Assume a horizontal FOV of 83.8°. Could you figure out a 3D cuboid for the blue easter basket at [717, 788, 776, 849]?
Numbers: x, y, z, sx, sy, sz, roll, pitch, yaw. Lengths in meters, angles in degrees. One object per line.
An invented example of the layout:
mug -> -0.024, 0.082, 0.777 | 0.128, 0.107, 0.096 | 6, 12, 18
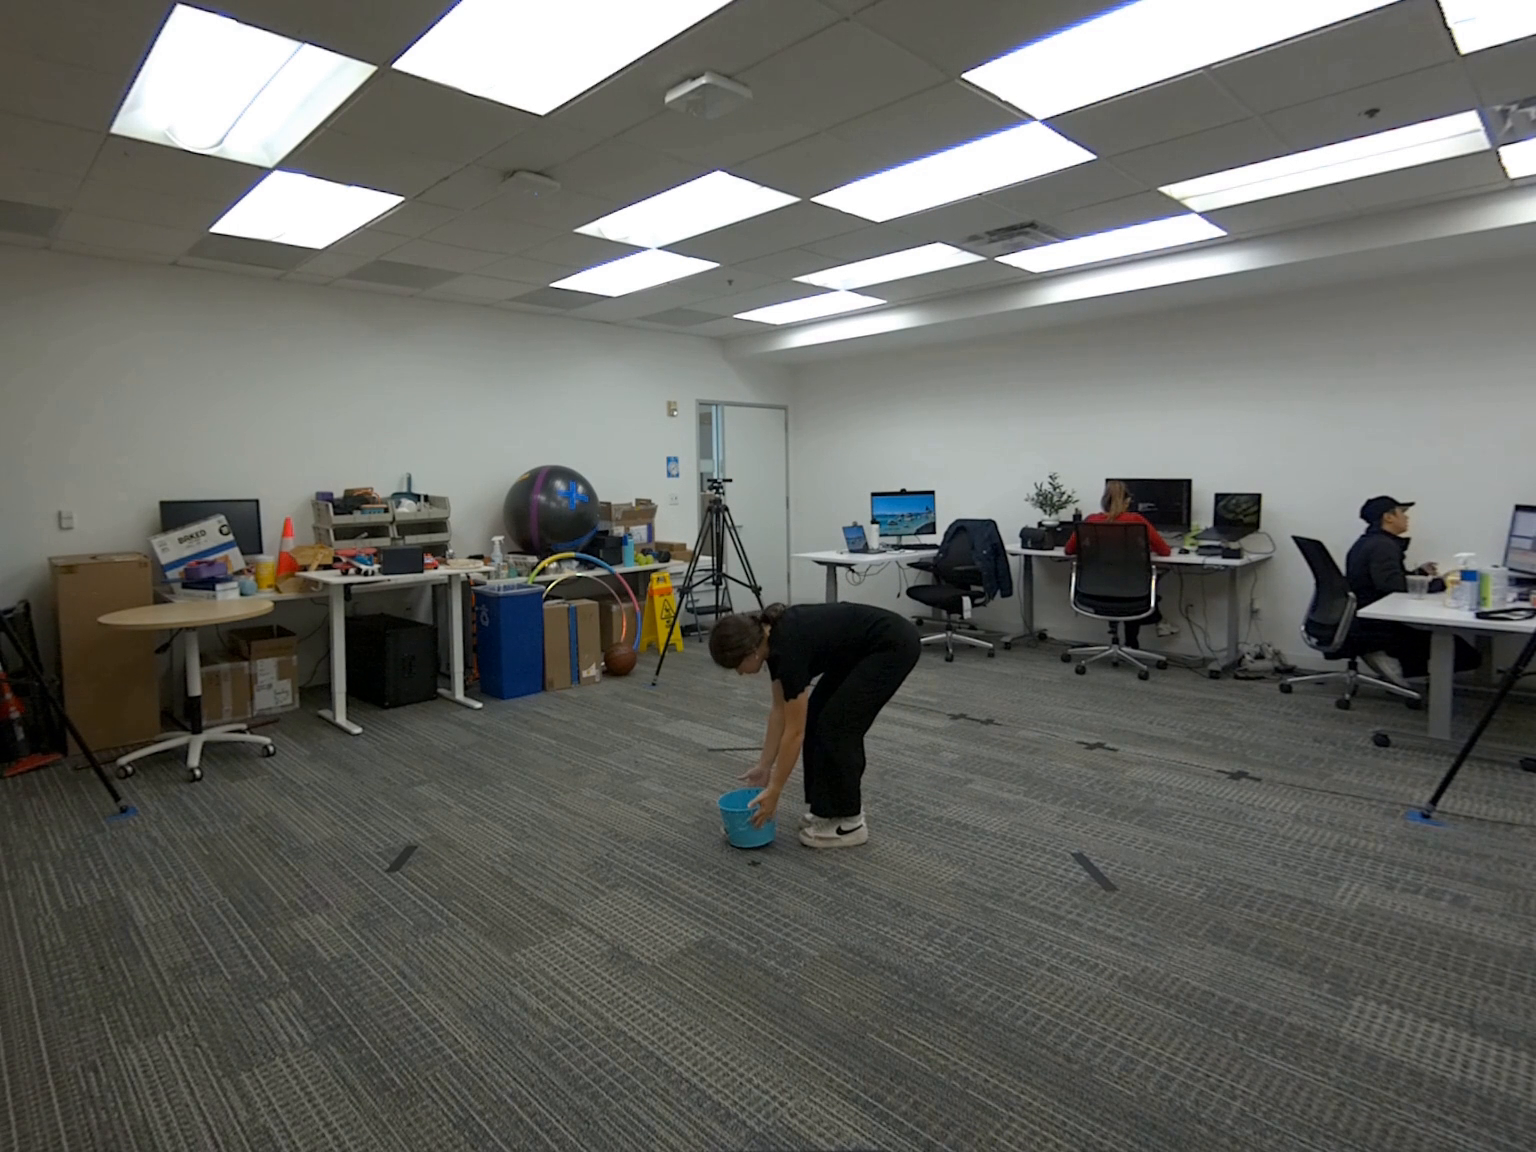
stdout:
blue easter basket -> -0.069, 0.930, 3.288 | 0.243, 0.155, 0.245 | -7, 6, -1
